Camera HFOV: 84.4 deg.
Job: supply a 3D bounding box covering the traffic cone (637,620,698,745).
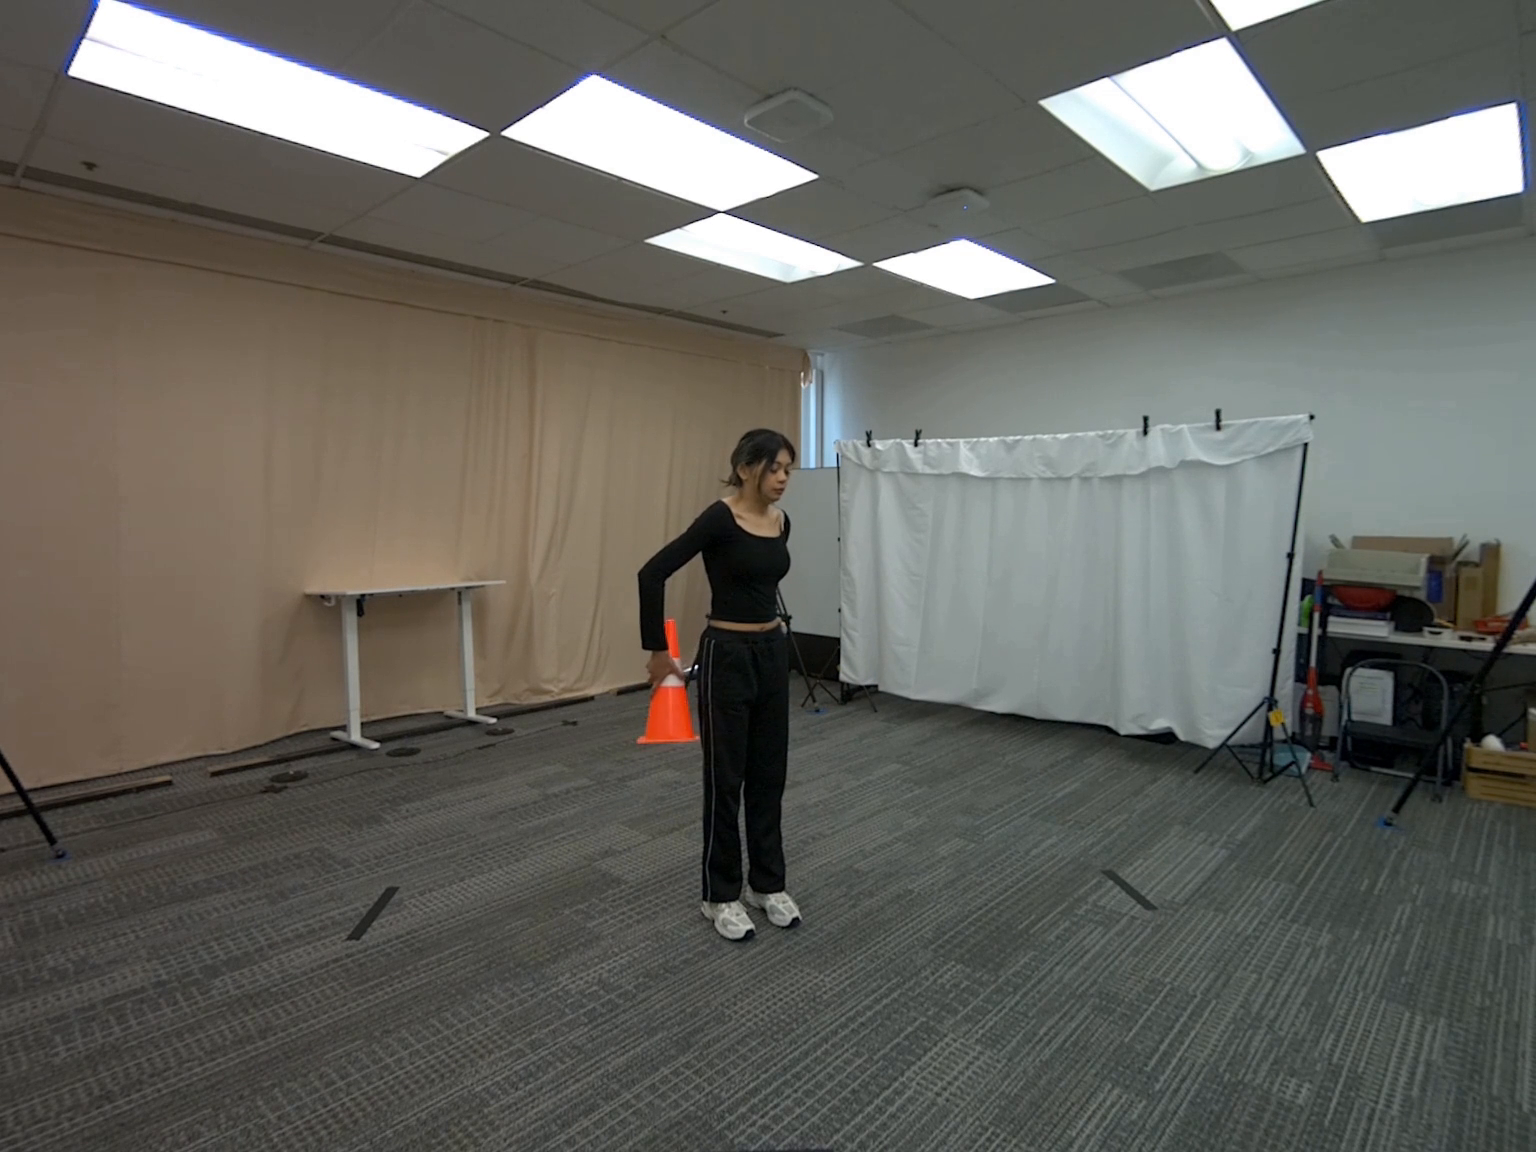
[{"bbox_3d":[-0.314,0.339,2.723,0.204,0.385,0.204,-2,-5,2],"label":"traffic cone"}]
